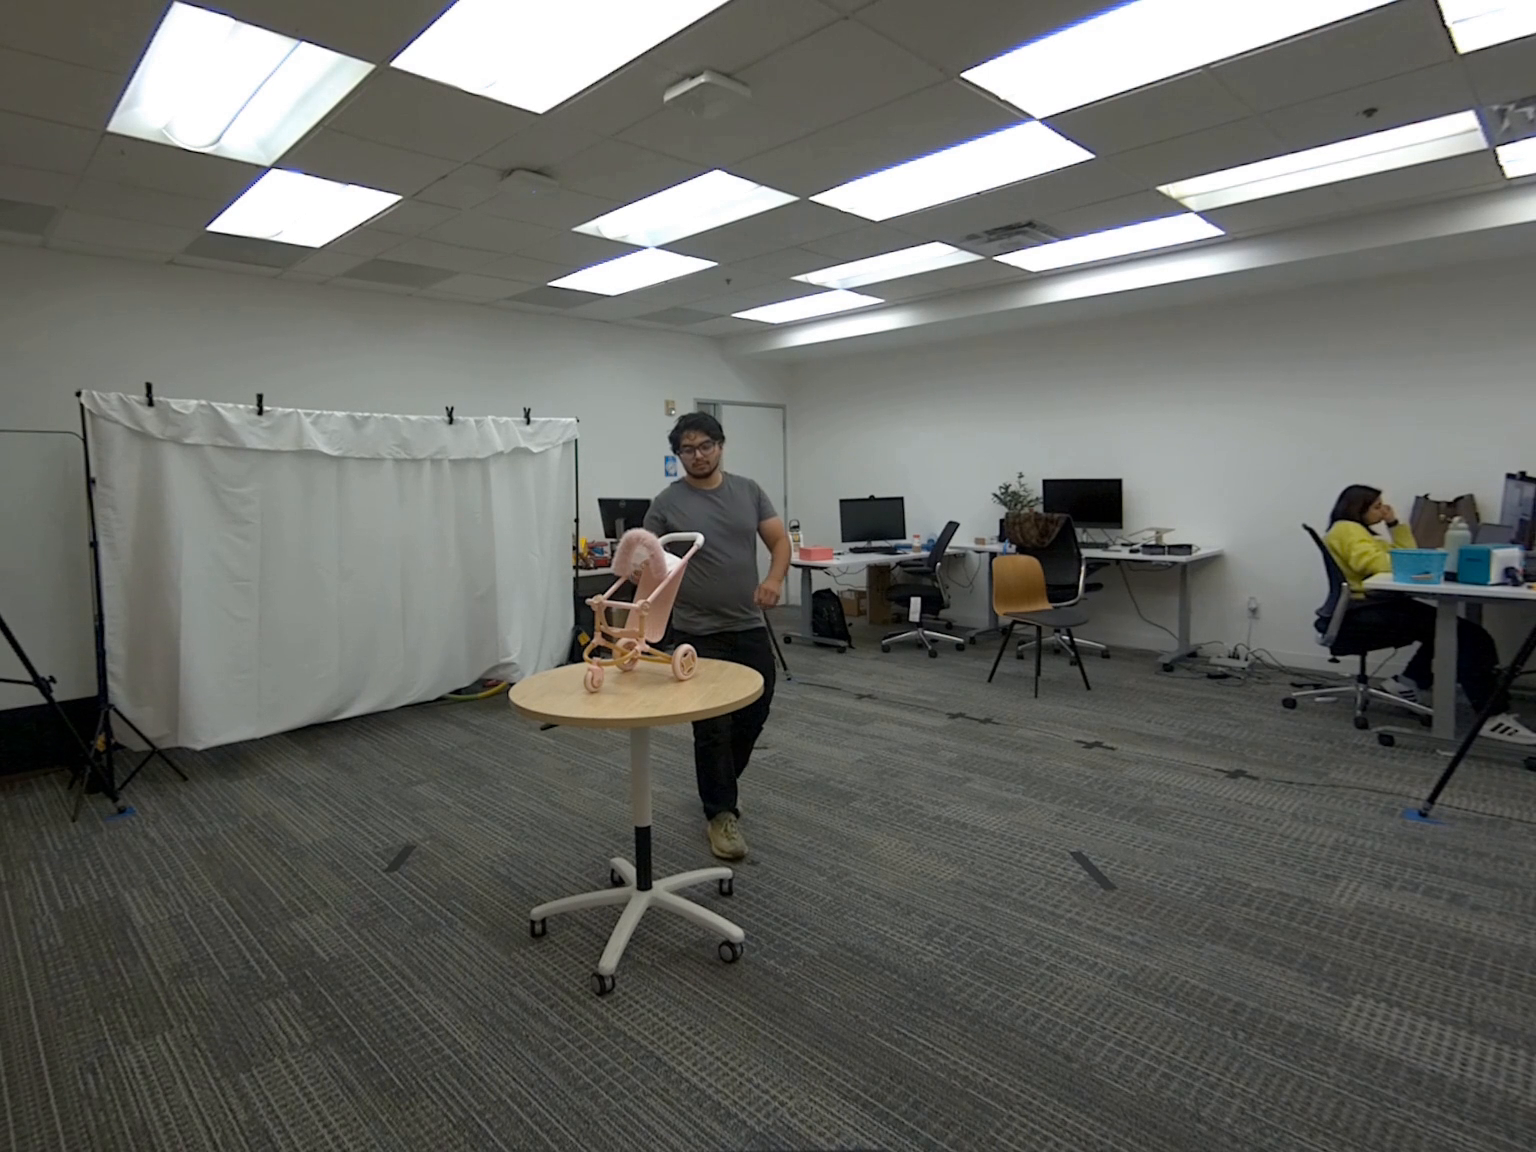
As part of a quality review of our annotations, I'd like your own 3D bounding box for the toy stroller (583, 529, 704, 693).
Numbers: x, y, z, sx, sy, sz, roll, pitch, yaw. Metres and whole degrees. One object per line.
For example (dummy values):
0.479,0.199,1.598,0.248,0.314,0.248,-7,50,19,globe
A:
-0.406,0.100,2.633,0.290,0.538,0.329,0,-10,41,toy stroller
